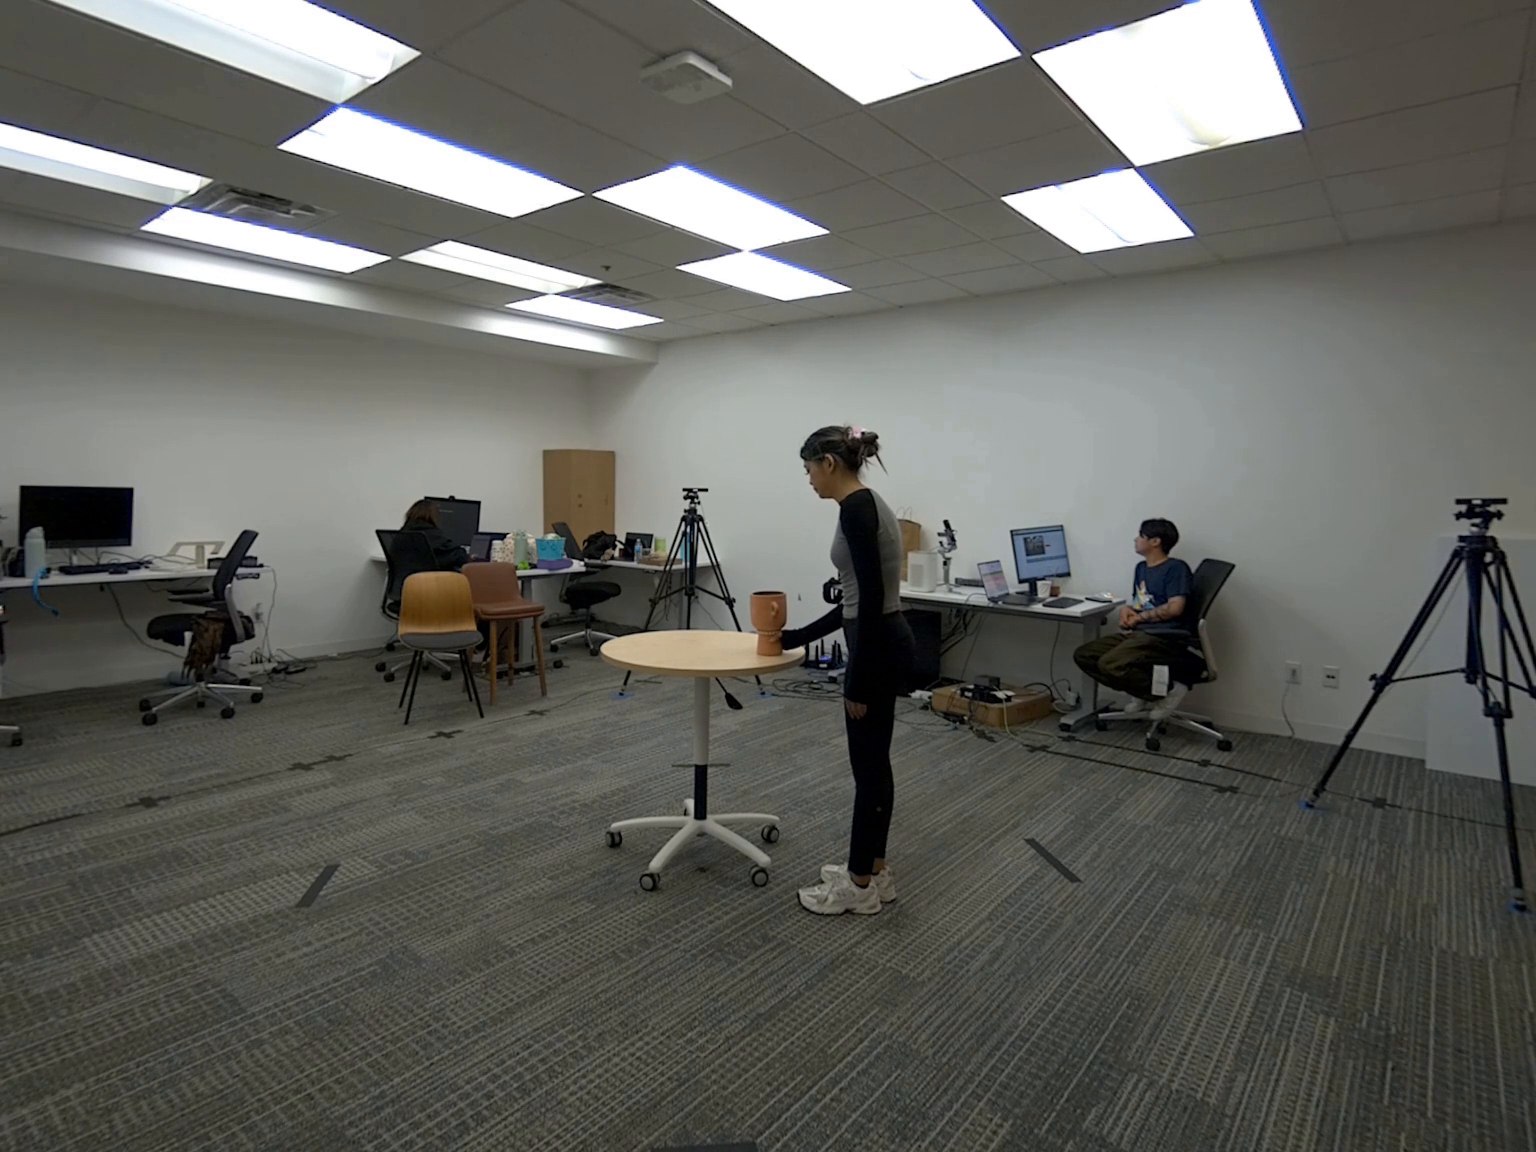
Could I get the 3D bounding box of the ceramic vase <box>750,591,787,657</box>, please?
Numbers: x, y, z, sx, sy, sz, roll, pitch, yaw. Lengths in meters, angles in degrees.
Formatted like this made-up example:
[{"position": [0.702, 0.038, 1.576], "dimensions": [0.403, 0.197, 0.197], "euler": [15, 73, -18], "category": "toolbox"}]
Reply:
[{"position": [-0.004, 0.168, 3.101], "dimensions": [0.138, 0.219, 0.156], "euler": [0, 4, 22], "category": "ceramic vase"}]
